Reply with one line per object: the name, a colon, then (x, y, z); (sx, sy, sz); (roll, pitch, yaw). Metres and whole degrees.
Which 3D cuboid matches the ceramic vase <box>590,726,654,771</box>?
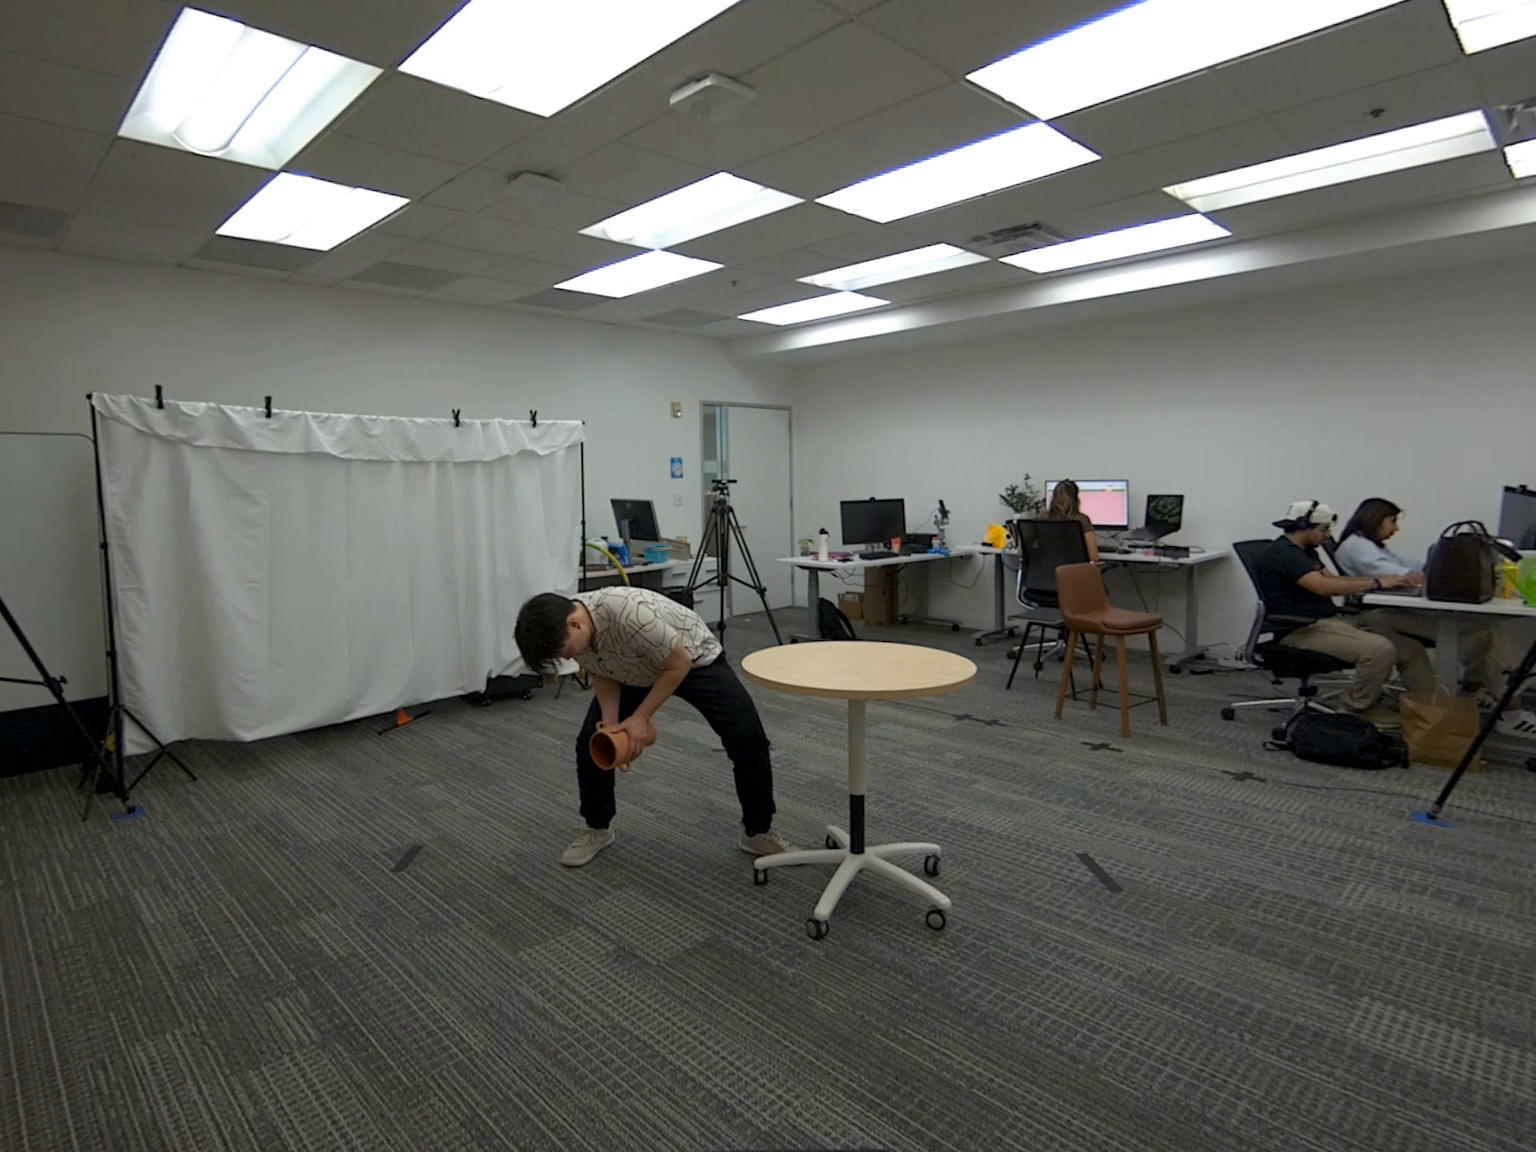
ceramic vase: (-0.500, 0.572, 2.976); (0.138, 0.158, 0.215); (-5, 4, 36)
